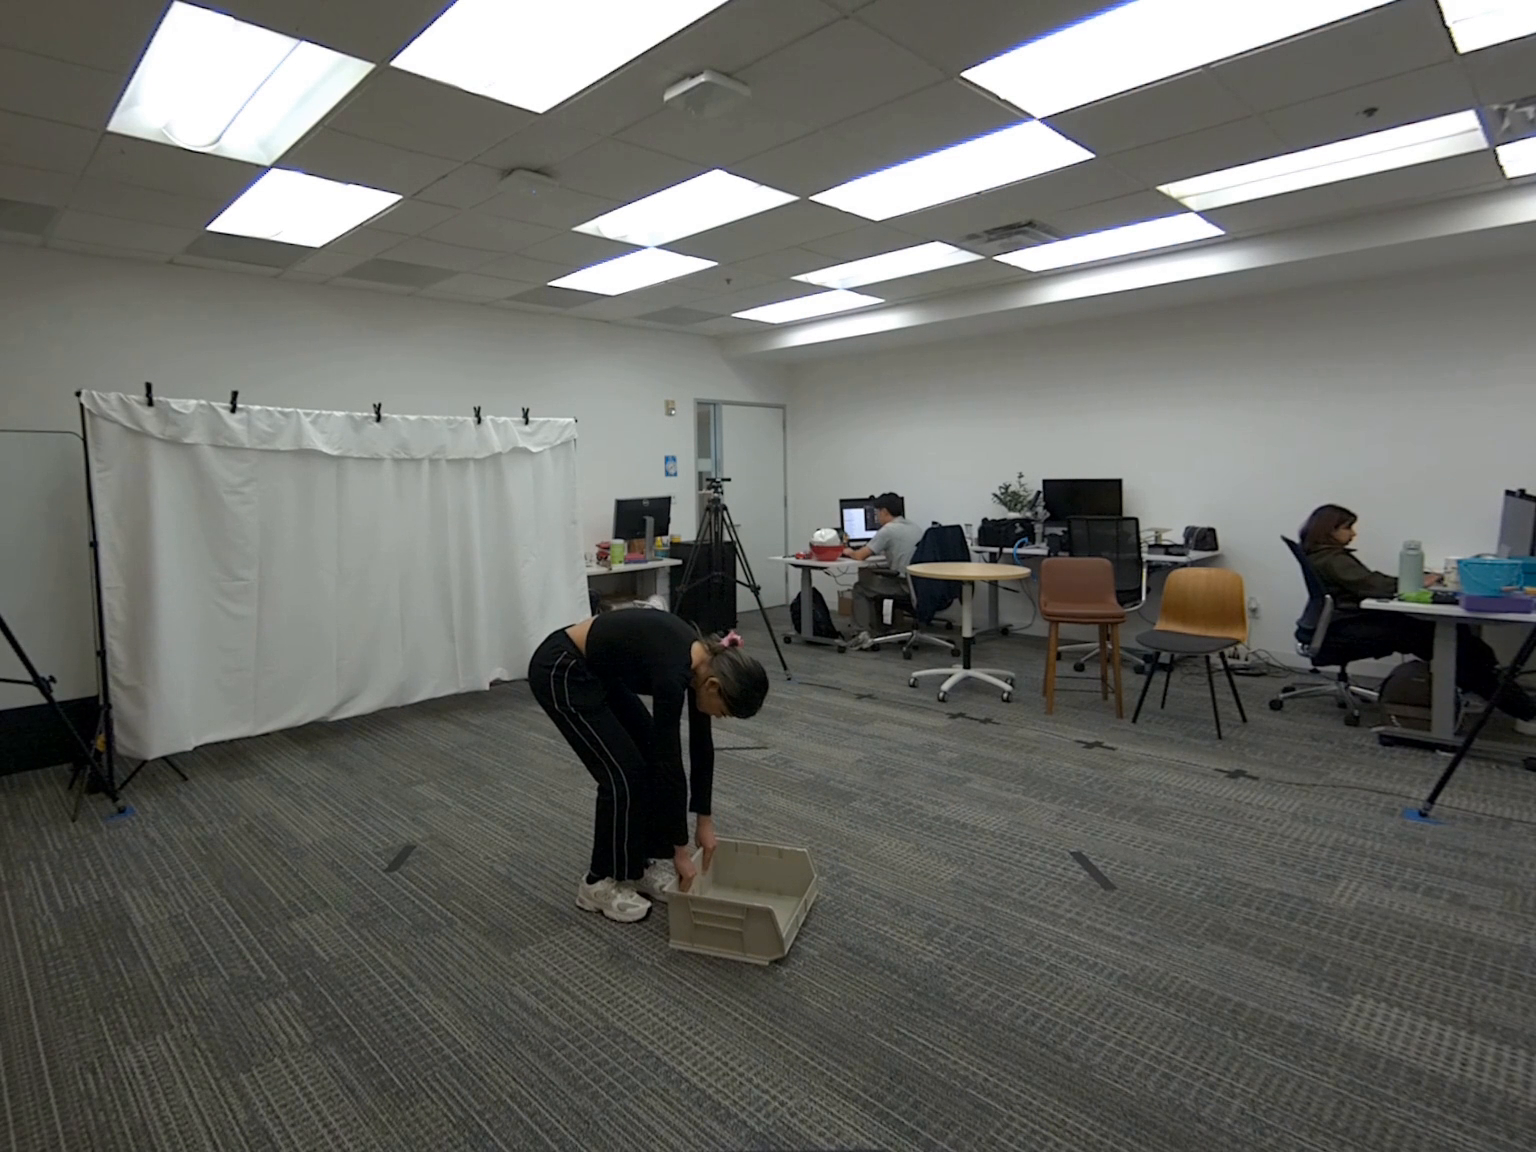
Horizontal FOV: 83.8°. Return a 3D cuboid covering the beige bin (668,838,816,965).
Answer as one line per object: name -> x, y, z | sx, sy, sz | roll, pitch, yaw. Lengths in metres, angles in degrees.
beige bin -> -0.070, 1.004, 2.681 | 0.384, 0.188, 0.417 | 0, 7, 18
